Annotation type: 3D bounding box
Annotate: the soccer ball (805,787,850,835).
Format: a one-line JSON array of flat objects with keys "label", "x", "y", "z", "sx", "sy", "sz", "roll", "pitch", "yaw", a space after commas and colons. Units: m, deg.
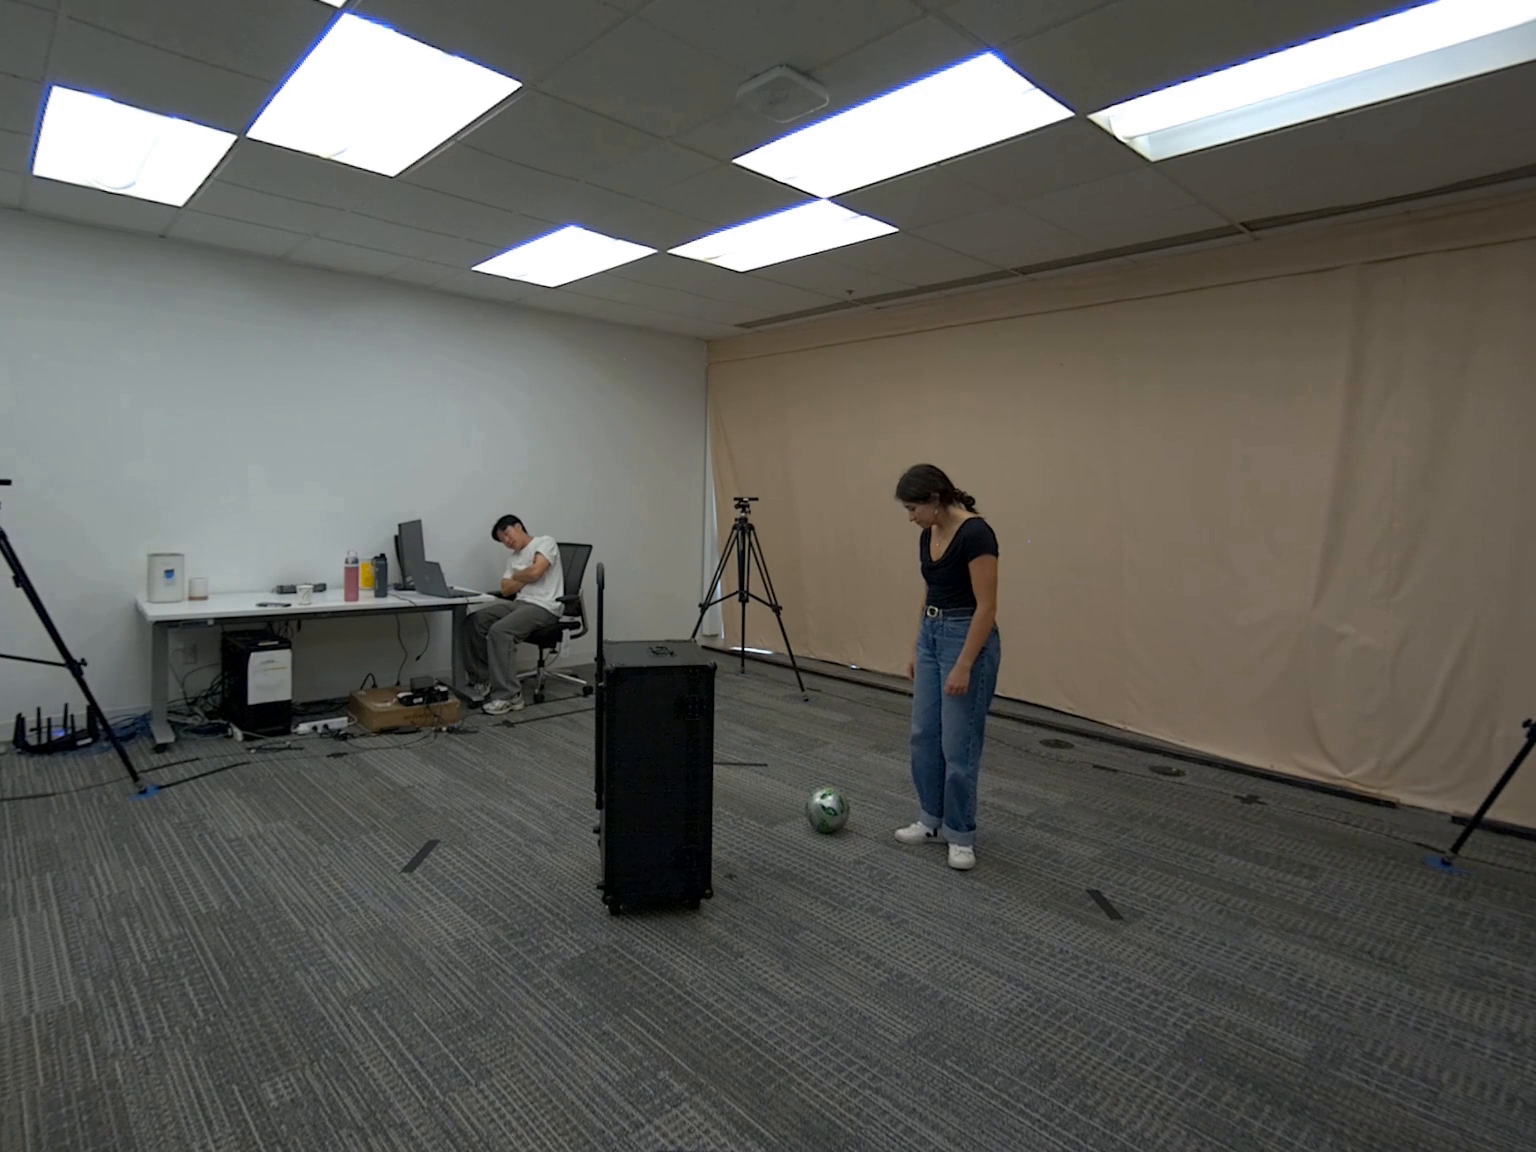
[{"label": "soccer ball", "x": 0.244, "y": 0.982, "z": 3.557, "sx": 0.187, "sy": 0.187, "sz": 0.188, "roll": 1, "pitch": 4, "yaw": -1}]
